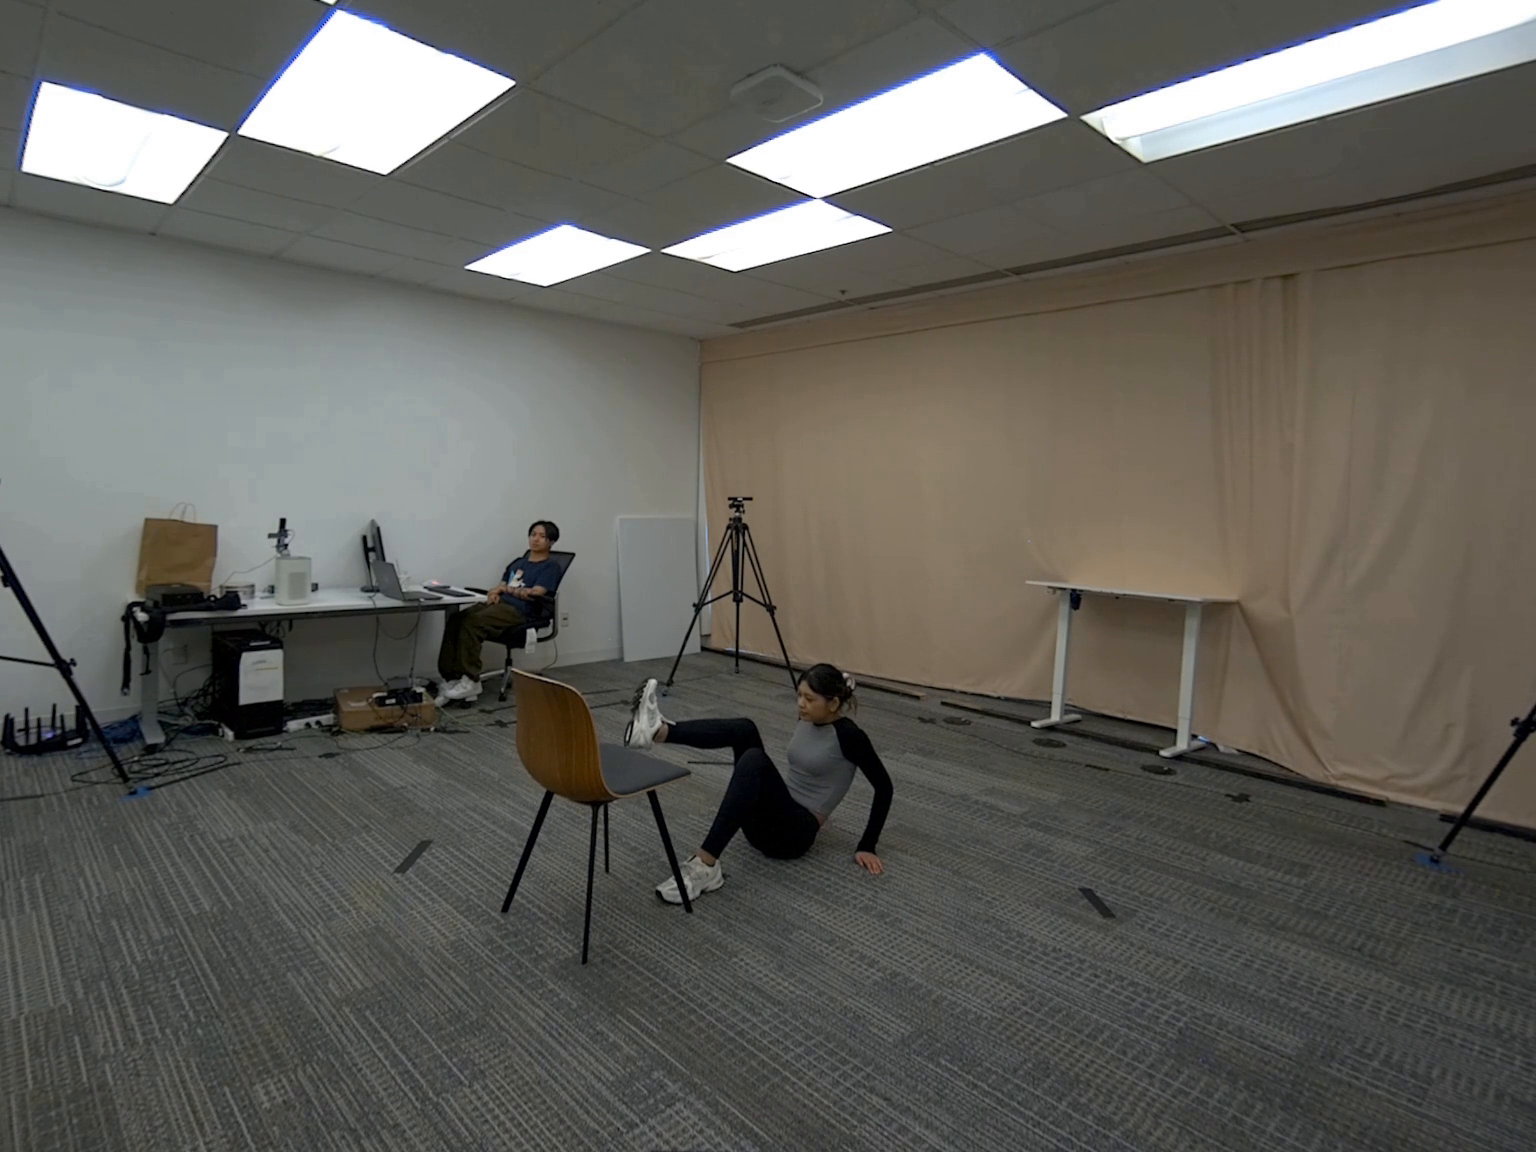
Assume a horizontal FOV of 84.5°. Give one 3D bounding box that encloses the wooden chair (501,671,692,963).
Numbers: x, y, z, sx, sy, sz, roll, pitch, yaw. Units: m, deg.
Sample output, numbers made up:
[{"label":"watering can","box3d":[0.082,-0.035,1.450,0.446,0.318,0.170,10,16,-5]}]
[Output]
[{"label":"wooden chair","box3d":[-0.559,0.699,2.785,0.490,0.873,0.513,4,9,41]}]
